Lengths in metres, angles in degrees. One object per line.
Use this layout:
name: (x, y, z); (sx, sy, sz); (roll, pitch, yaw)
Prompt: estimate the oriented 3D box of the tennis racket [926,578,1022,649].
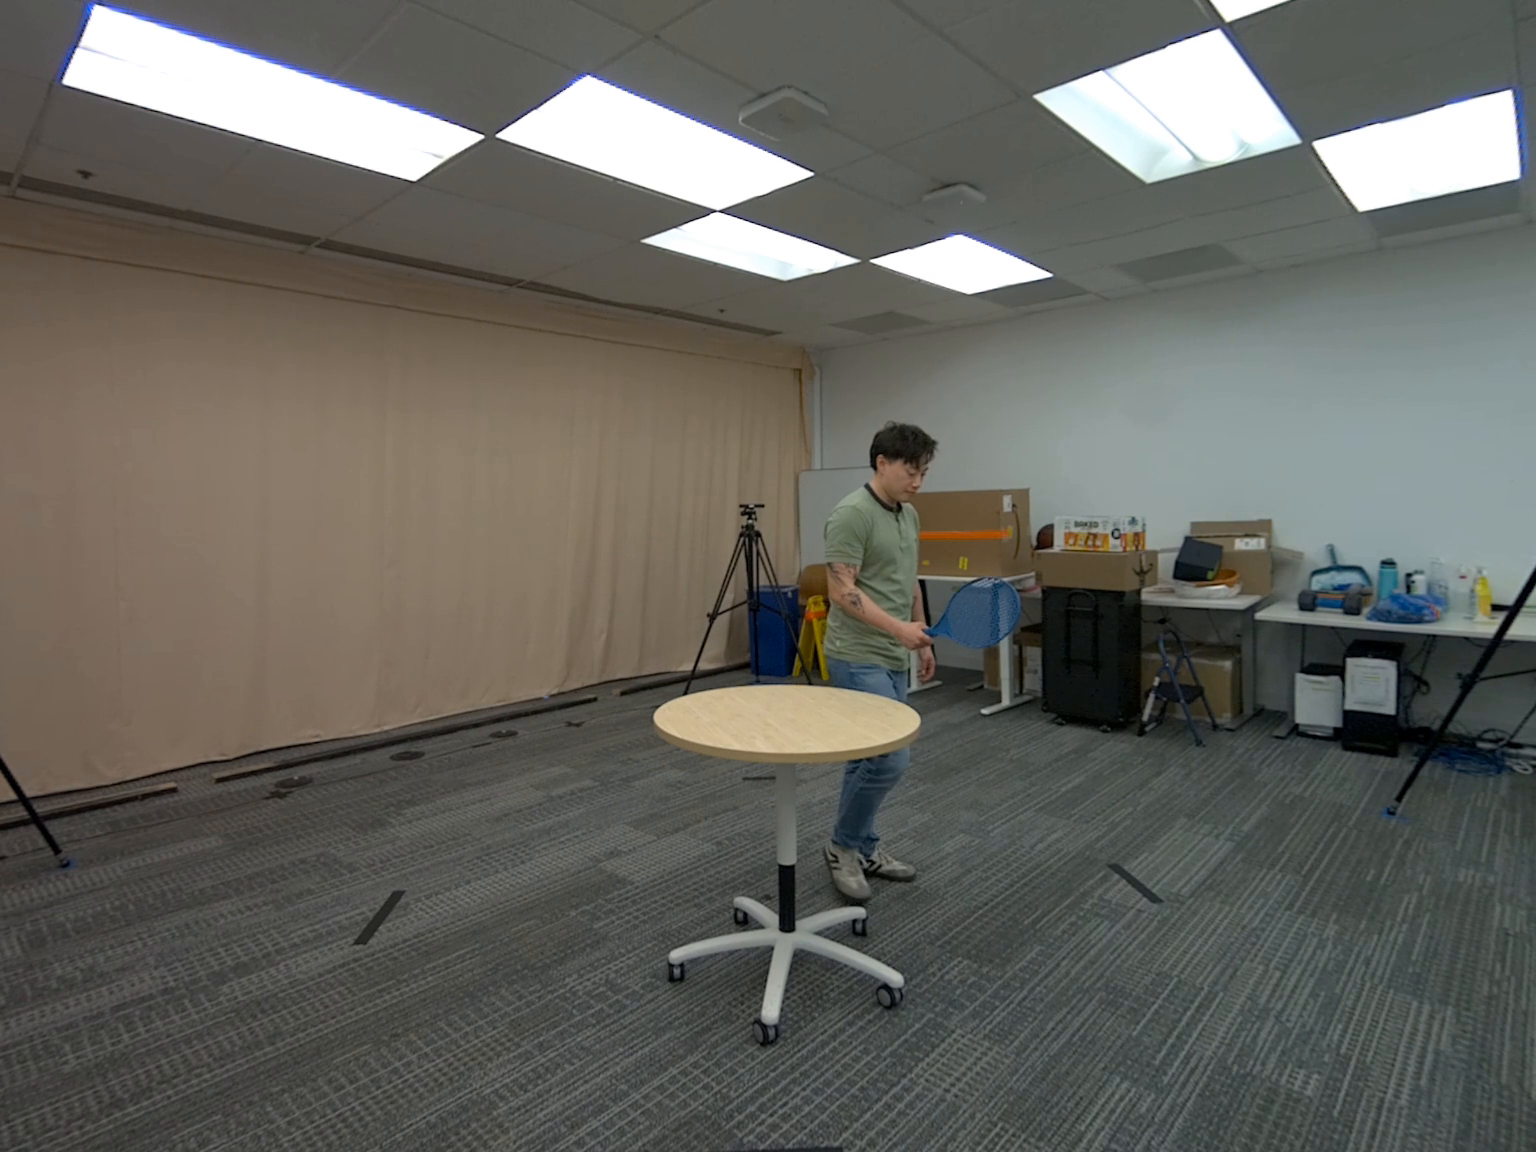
tennis racket: (0.606, 0.148, 2.677); (0.031, 0.217, 0.440); (8, -29, -43)
